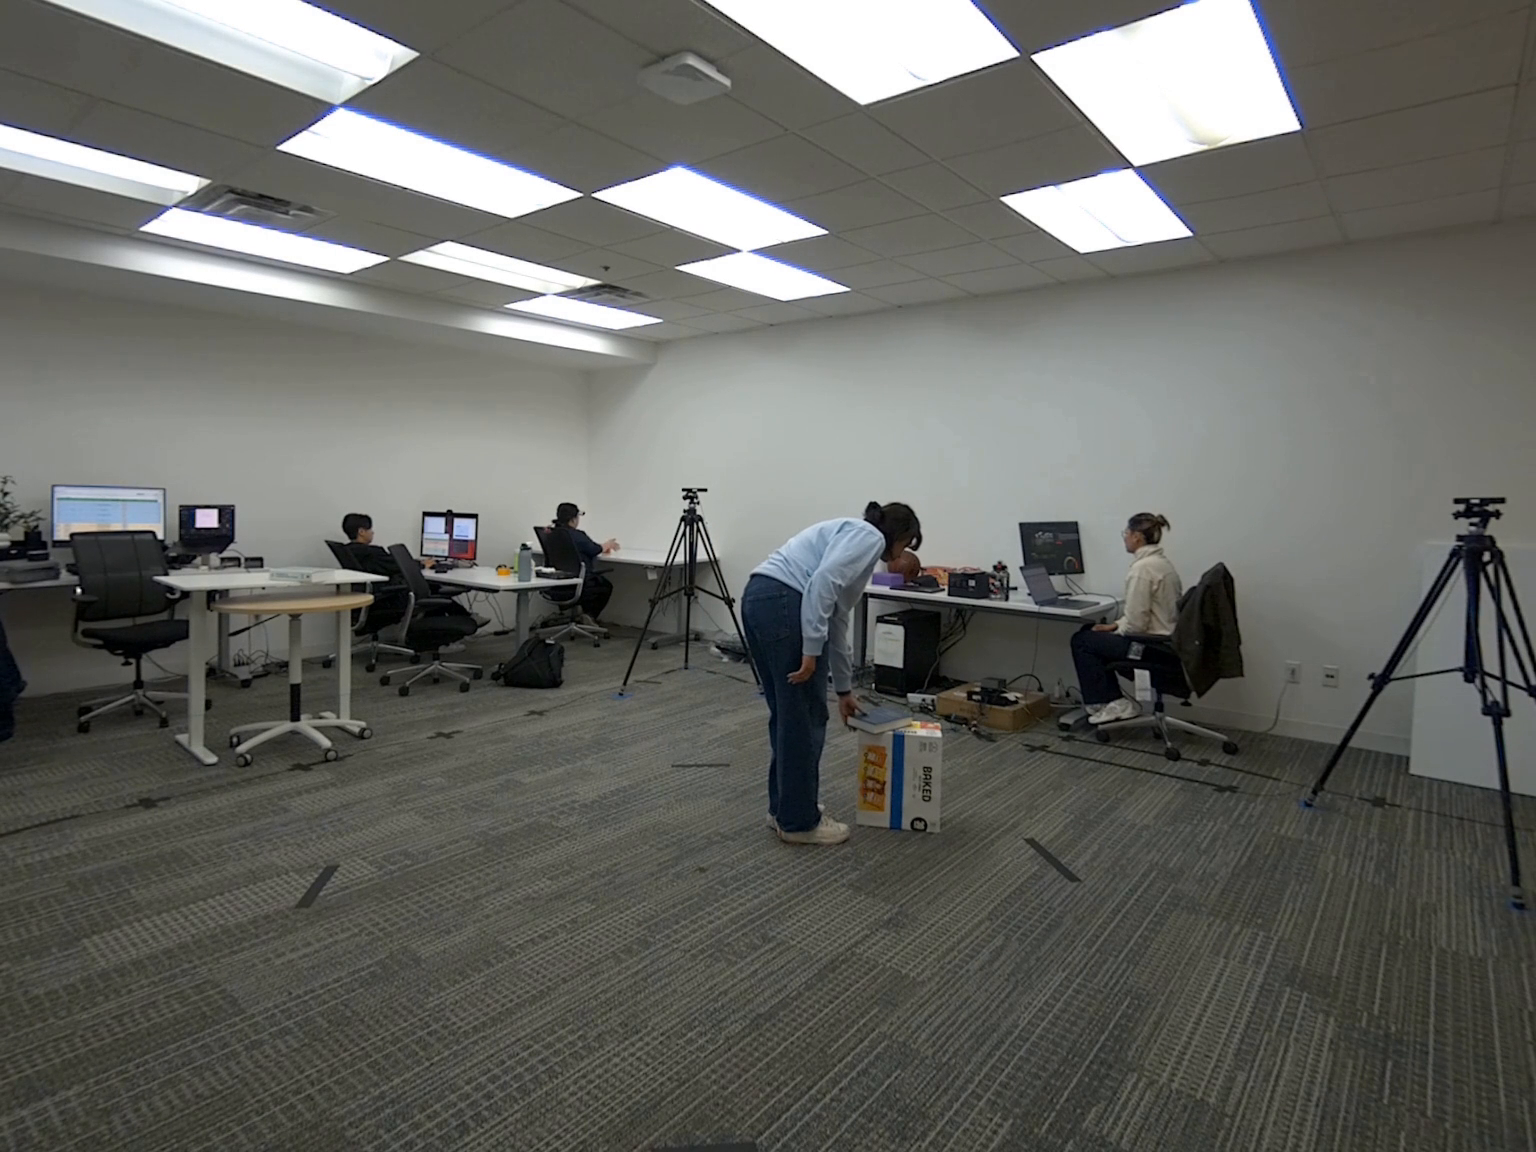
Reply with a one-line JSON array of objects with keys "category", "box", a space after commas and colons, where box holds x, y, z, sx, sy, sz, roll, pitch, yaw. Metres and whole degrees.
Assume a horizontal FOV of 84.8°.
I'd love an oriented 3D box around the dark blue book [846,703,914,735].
[{"category": "dark blue book", "box": [0.468, 0.612, 3.612, 0.238, 0.045, 0.169, -3, 9, -39]}]
